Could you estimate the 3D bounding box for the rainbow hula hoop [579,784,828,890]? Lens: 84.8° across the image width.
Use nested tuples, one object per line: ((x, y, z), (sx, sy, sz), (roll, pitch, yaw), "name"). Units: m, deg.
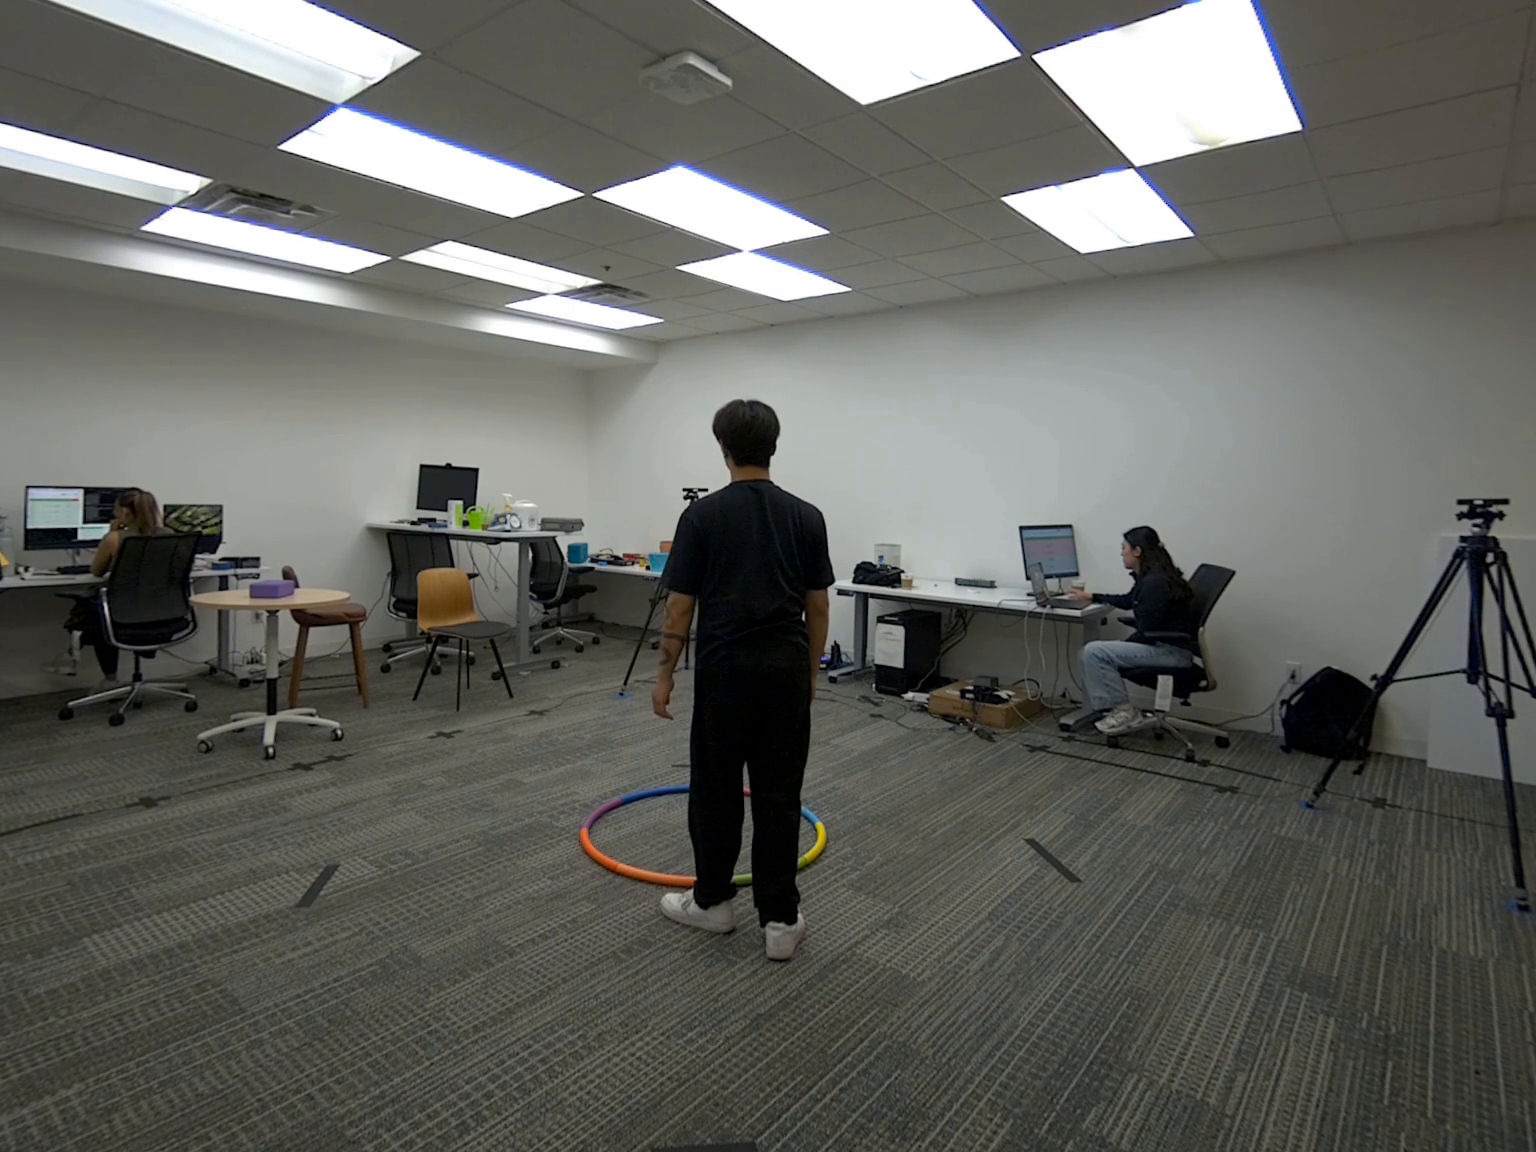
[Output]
((-0.270, 1.007, 3.432), (0.978, 0.035, 0.984), (1, 6, -2), "rainbow hula hoop")
